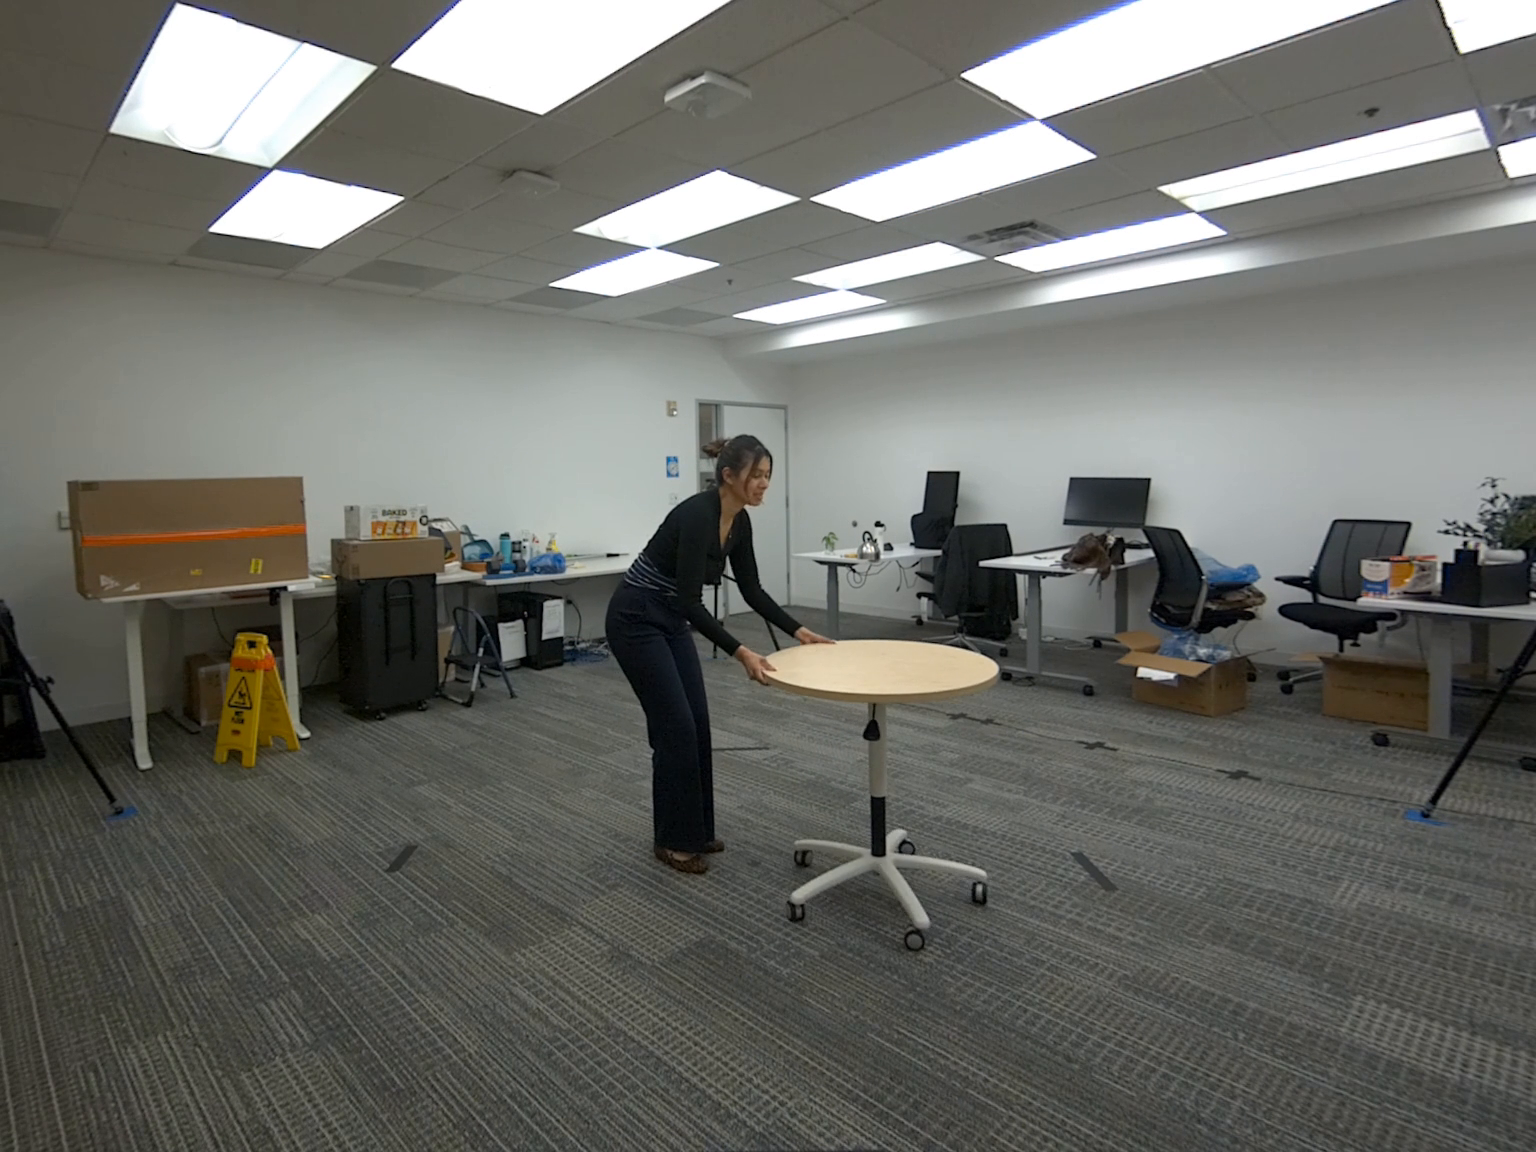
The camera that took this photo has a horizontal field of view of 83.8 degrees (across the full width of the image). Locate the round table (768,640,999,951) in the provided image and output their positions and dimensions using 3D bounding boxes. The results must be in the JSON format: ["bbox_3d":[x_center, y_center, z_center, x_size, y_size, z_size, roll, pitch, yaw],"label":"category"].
[{"bbox_3d":[0.355,0.679,2.821,0.763,0.791,0.768,-1,5,-2],"label":"round table"}]
